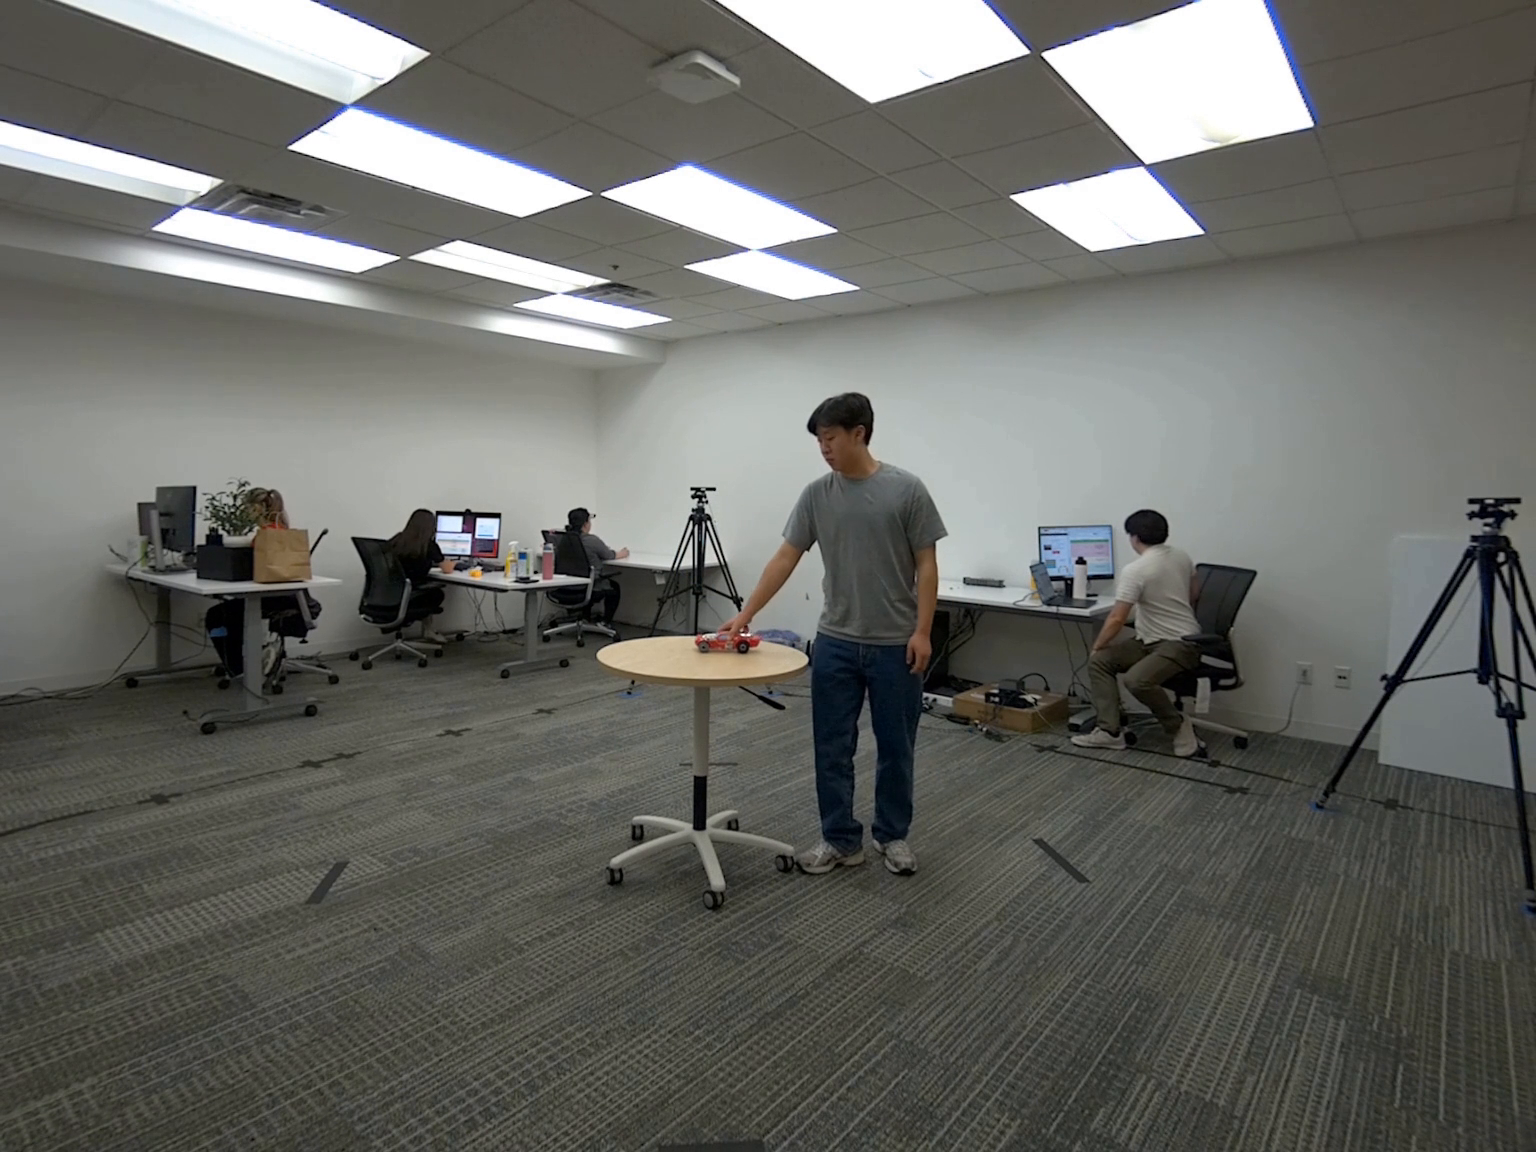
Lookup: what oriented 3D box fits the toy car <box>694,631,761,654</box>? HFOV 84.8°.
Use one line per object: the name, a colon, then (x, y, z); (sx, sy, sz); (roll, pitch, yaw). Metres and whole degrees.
toy car: (-0.153, 0.245, 3.181); (0.255, 0.083, 0.131); (-11, 4, 0)
